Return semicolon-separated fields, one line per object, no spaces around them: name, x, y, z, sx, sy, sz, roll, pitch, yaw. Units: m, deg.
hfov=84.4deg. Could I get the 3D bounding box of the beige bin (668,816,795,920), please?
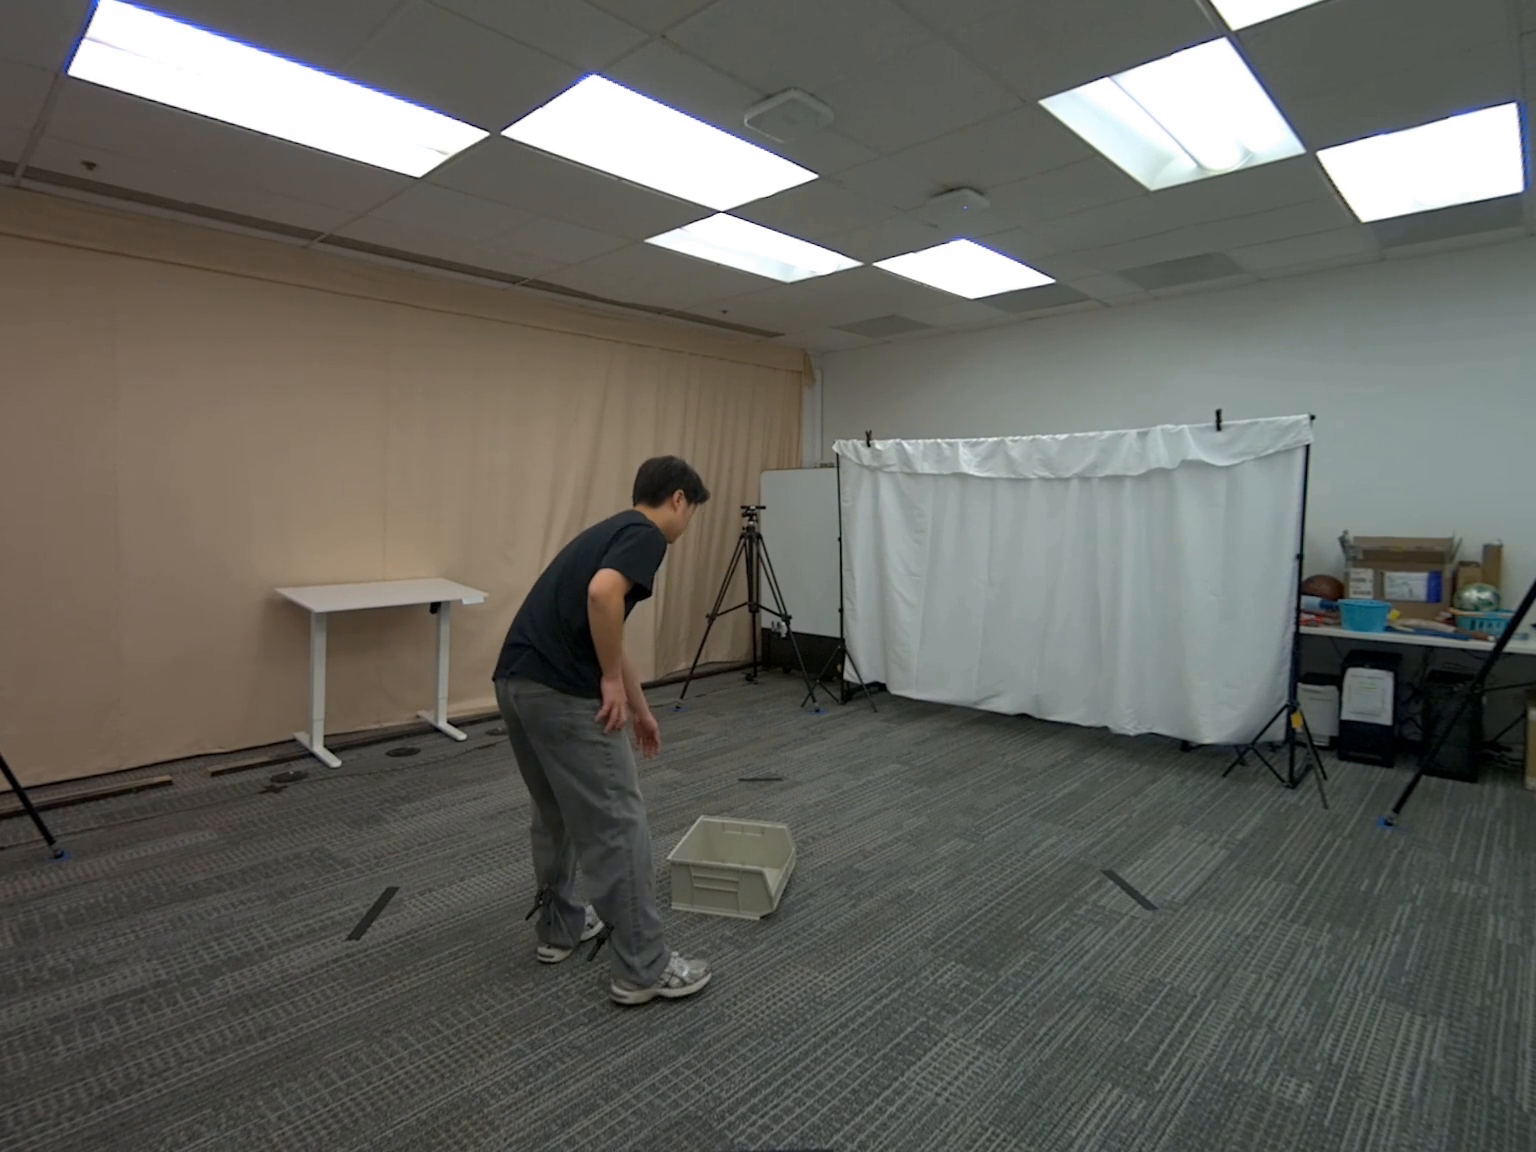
beige bin;-0.119;1.050;3.054;0.383;0.188;0.417;0;5;13
